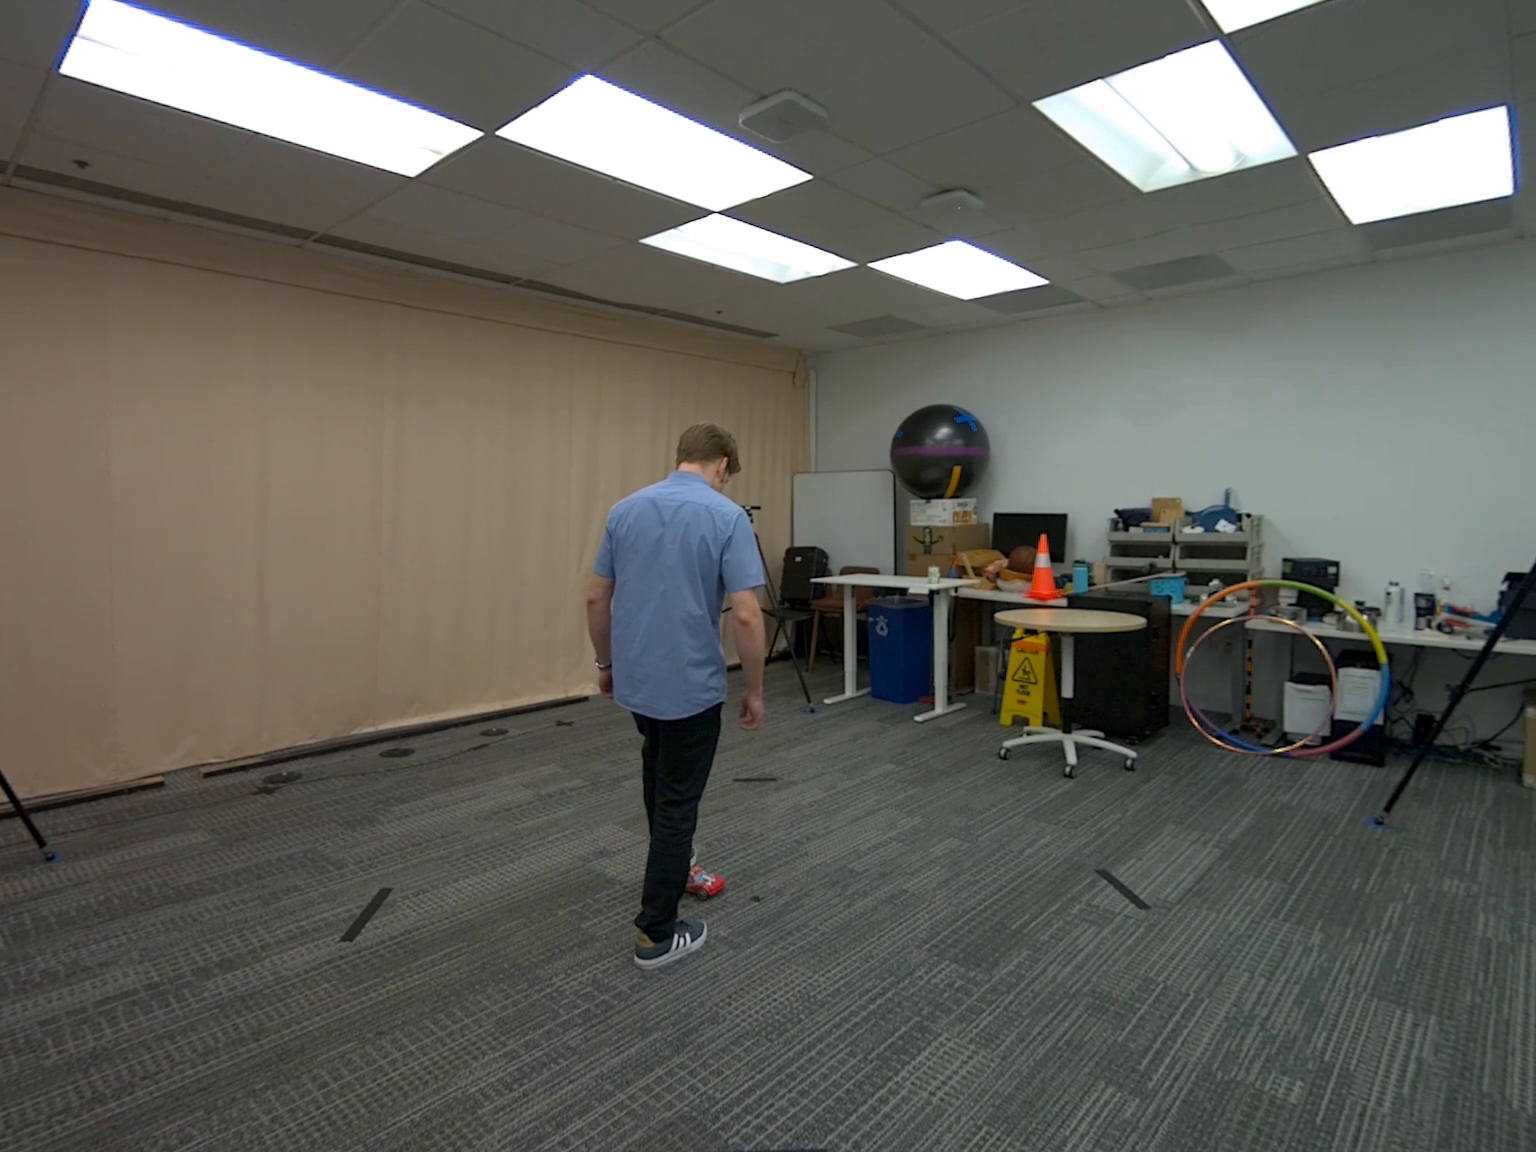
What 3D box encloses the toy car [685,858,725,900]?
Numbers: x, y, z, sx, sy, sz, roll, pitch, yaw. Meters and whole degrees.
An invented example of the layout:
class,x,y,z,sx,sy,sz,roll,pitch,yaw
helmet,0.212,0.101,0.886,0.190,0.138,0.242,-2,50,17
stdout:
class,x,y,z,sx,sy,sz,roll,pitch,yaw
toy car,-0.279,1.111,3.066,0.263,0.083,0.126,14,11,33
